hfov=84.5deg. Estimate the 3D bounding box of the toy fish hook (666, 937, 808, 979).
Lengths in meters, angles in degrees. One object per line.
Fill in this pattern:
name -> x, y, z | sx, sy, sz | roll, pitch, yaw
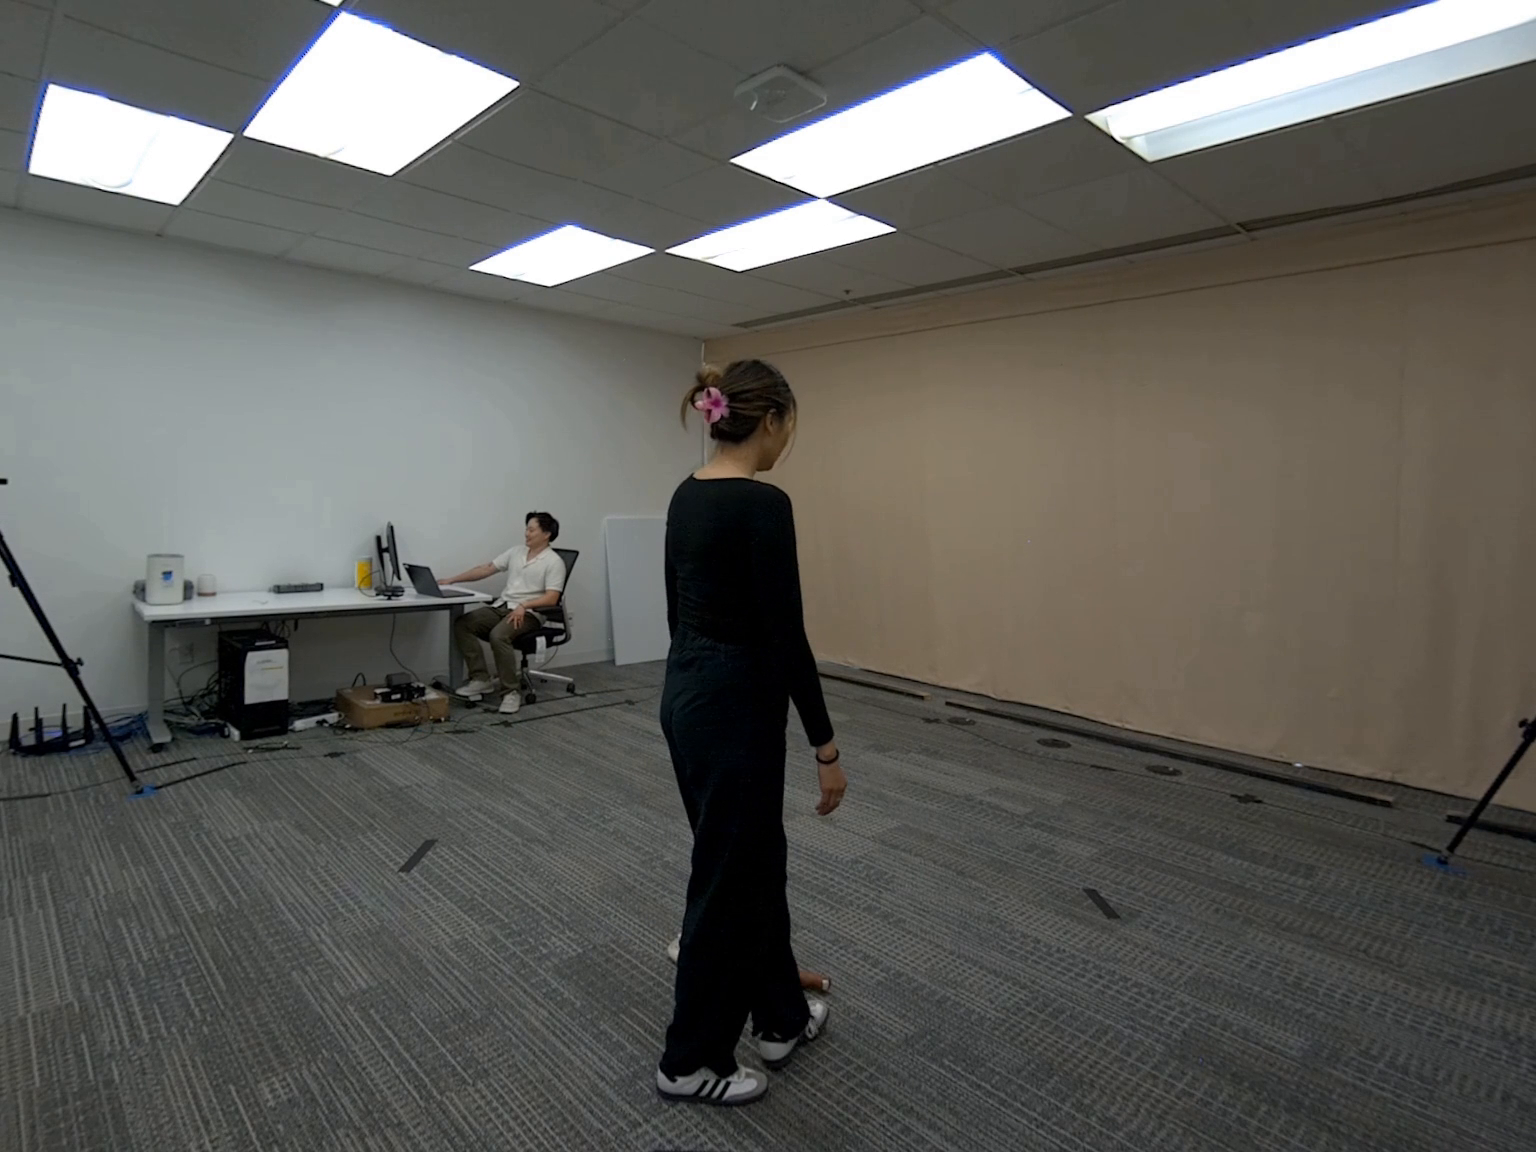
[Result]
toy fish hook -> -0.053, 1.145, 2.510 | 0.514, 0.048, 0.222 | 4, 6, 19
